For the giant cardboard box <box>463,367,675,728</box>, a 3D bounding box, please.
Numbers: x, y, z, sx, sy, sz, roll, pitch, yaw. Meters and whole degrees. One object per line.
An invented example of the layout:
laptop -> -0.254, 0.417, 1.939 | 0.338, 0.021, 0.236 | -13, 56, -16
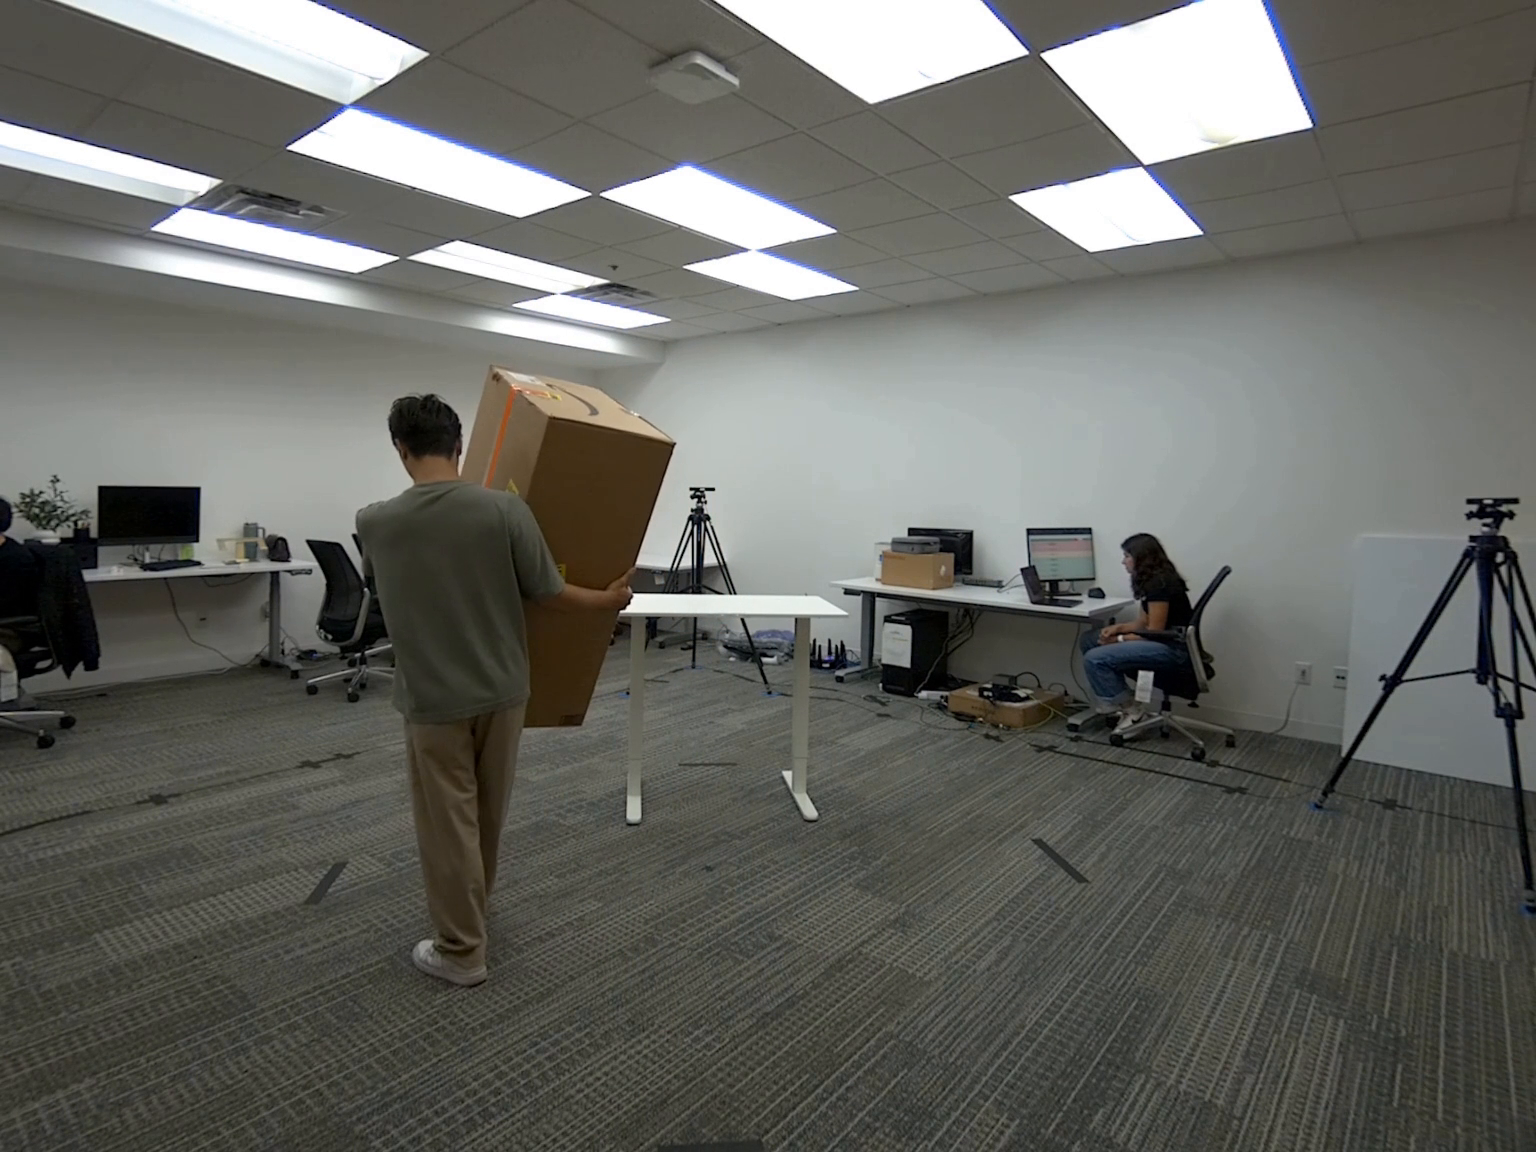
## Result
giant cardboard box -> -0.778, -0.090, 2.805 | 0.411, 1.017, 0.602 | 8, 20, -39
